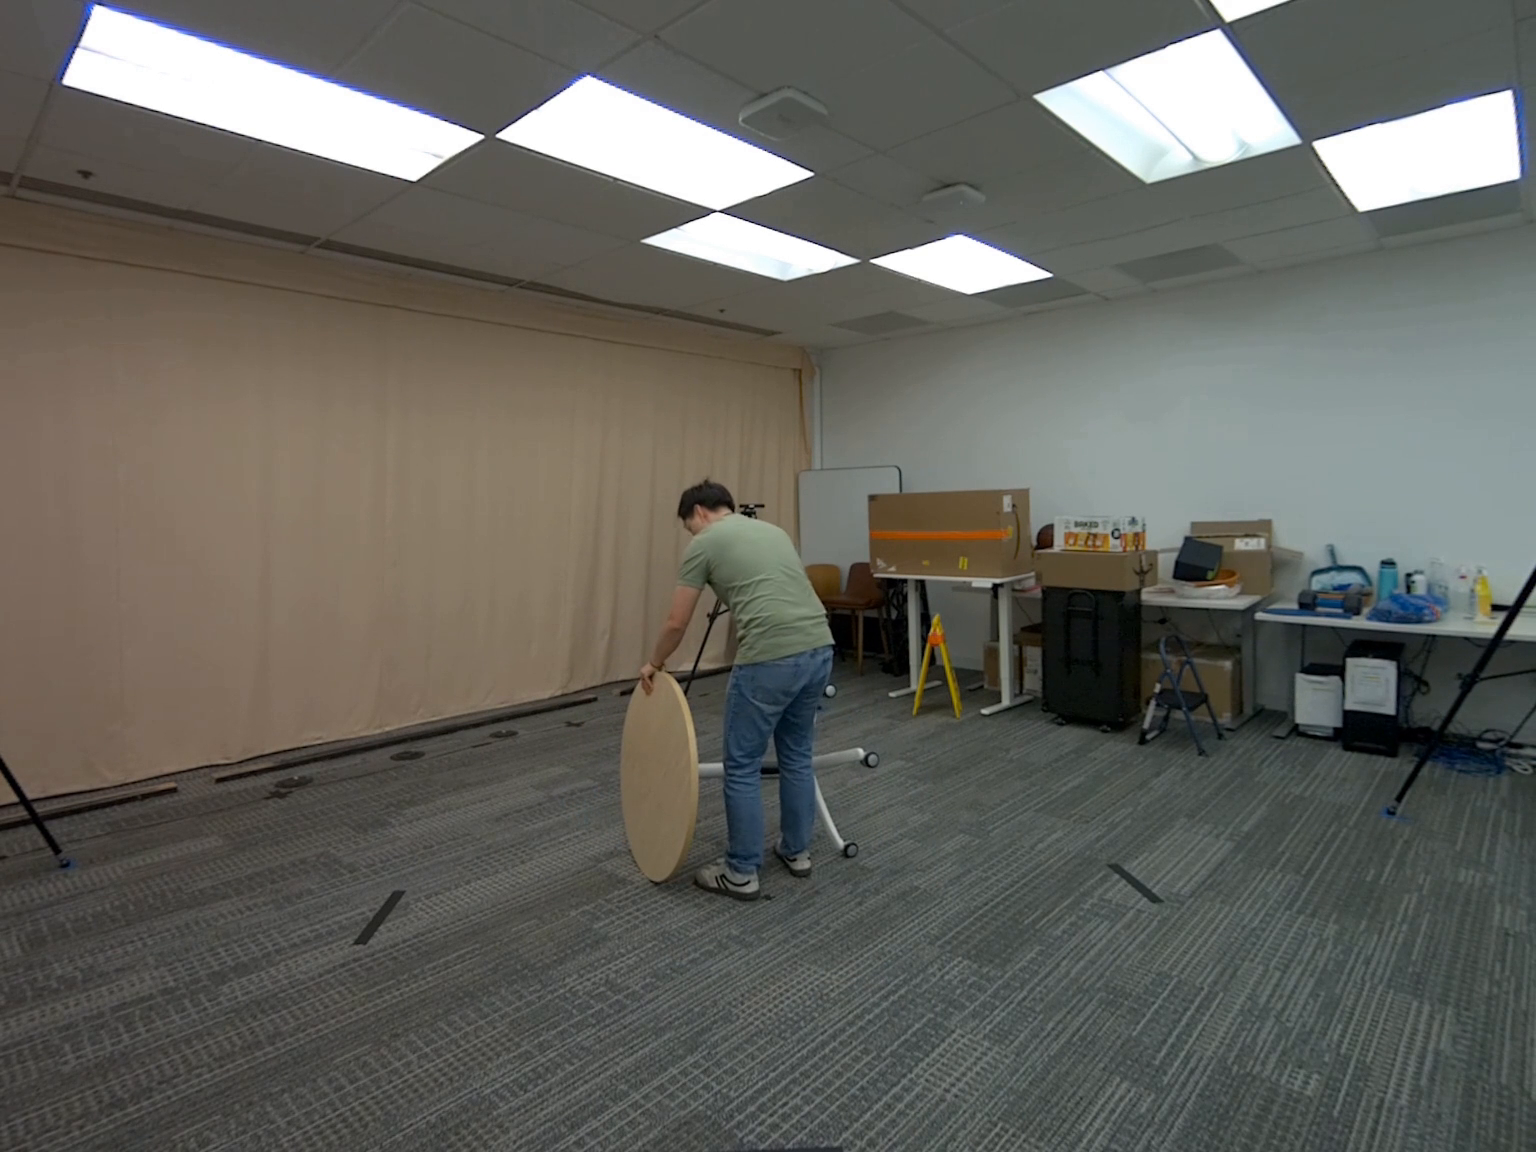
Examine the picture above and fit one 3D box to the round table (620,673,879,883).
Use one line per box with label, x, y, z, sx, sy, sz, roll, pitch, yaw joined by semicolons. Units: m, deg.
round table;-0.086;0.779;3.362;0.773;0.764;0.784;5;1;-26
